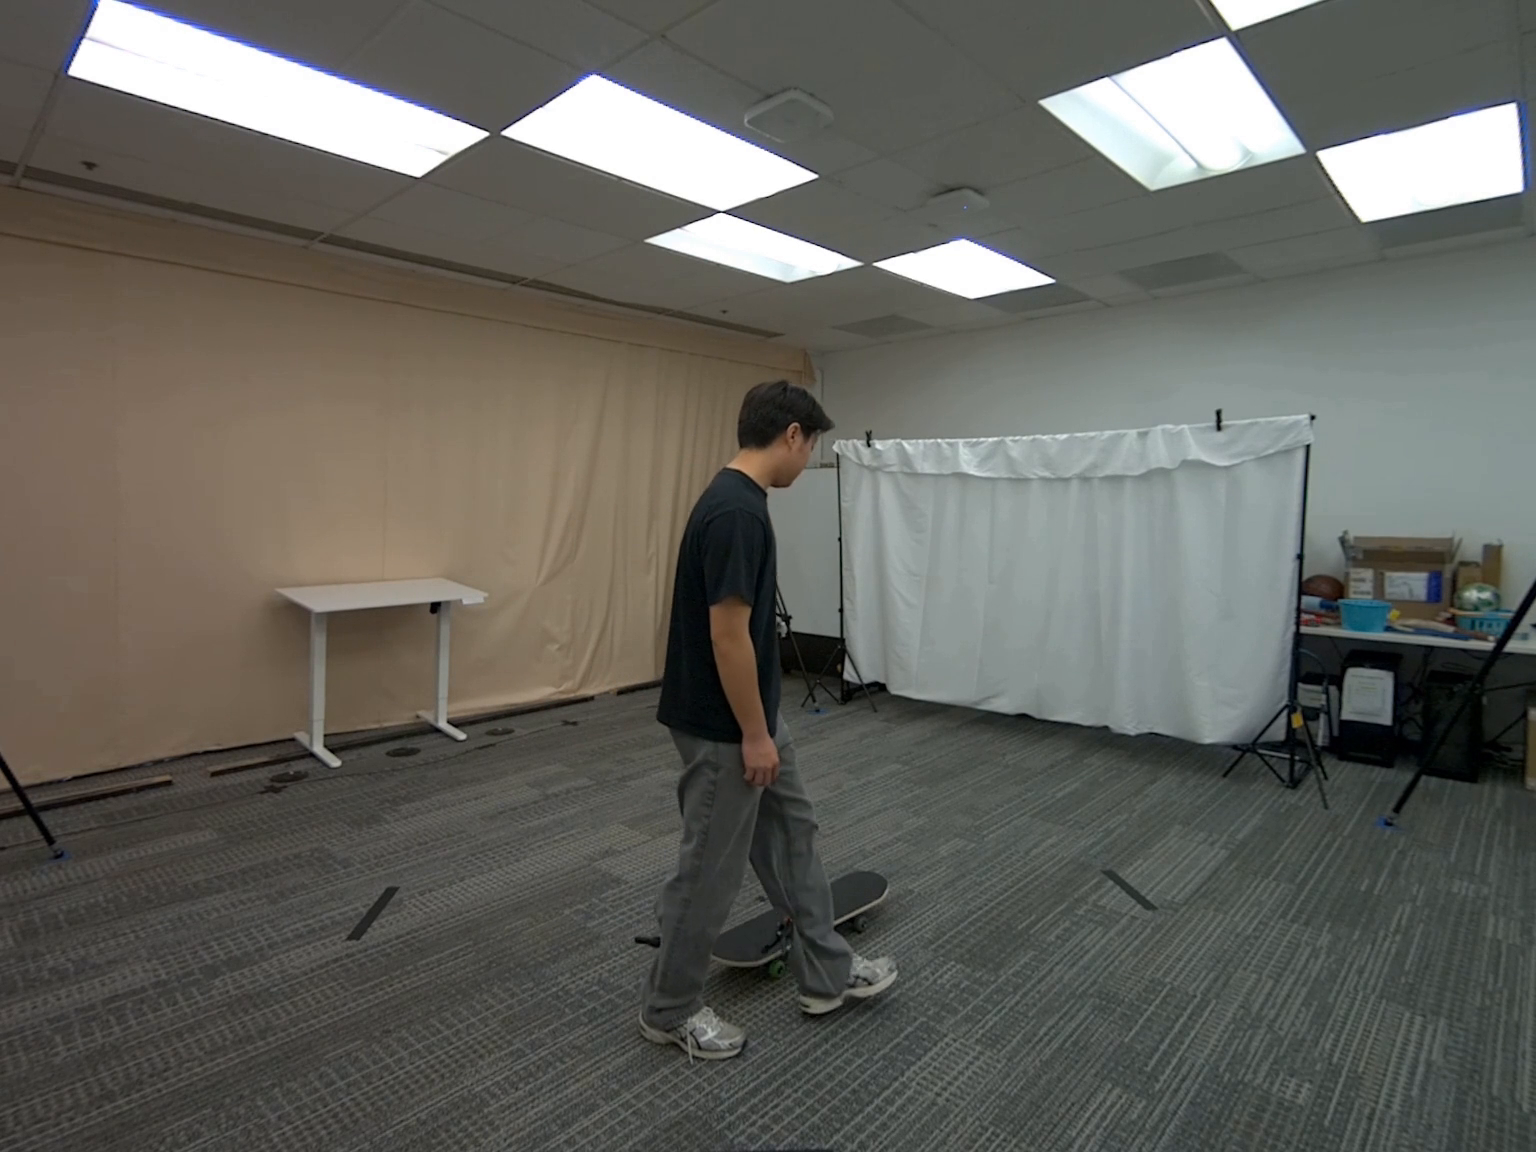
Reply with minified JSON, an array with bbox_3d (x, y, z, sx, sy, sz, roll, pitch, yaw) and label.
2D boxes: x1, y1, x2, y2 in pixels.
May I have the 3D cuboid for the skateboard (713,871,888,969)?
[{"bbox_3d":[0.112,1.120,2.668,0.761,0.110,0.200,-5,6,-44],"label":"skateboard"}]
